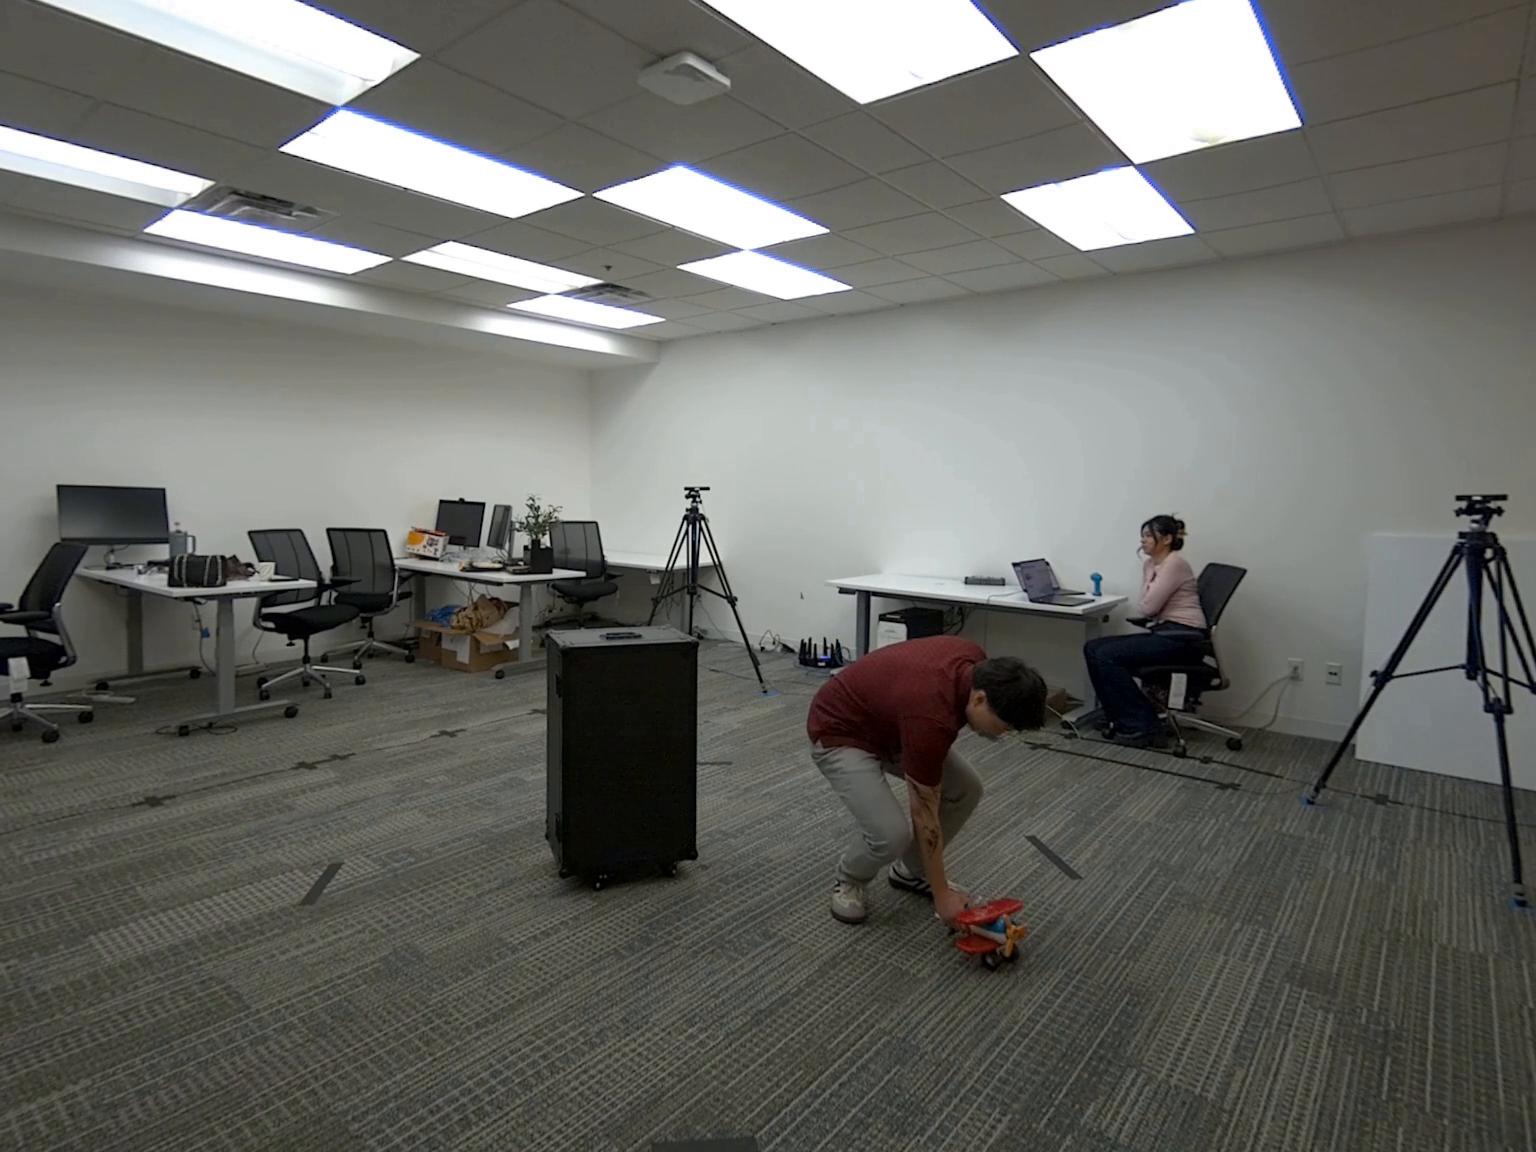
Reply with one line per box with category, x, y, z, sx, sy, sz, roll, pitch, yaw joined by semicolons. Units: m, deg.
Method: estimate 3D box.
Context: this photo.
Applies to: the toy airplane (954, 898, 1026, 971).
toy airplane;0.630;1.064;2.567;0.267;0.155;0.245;9;9;29
